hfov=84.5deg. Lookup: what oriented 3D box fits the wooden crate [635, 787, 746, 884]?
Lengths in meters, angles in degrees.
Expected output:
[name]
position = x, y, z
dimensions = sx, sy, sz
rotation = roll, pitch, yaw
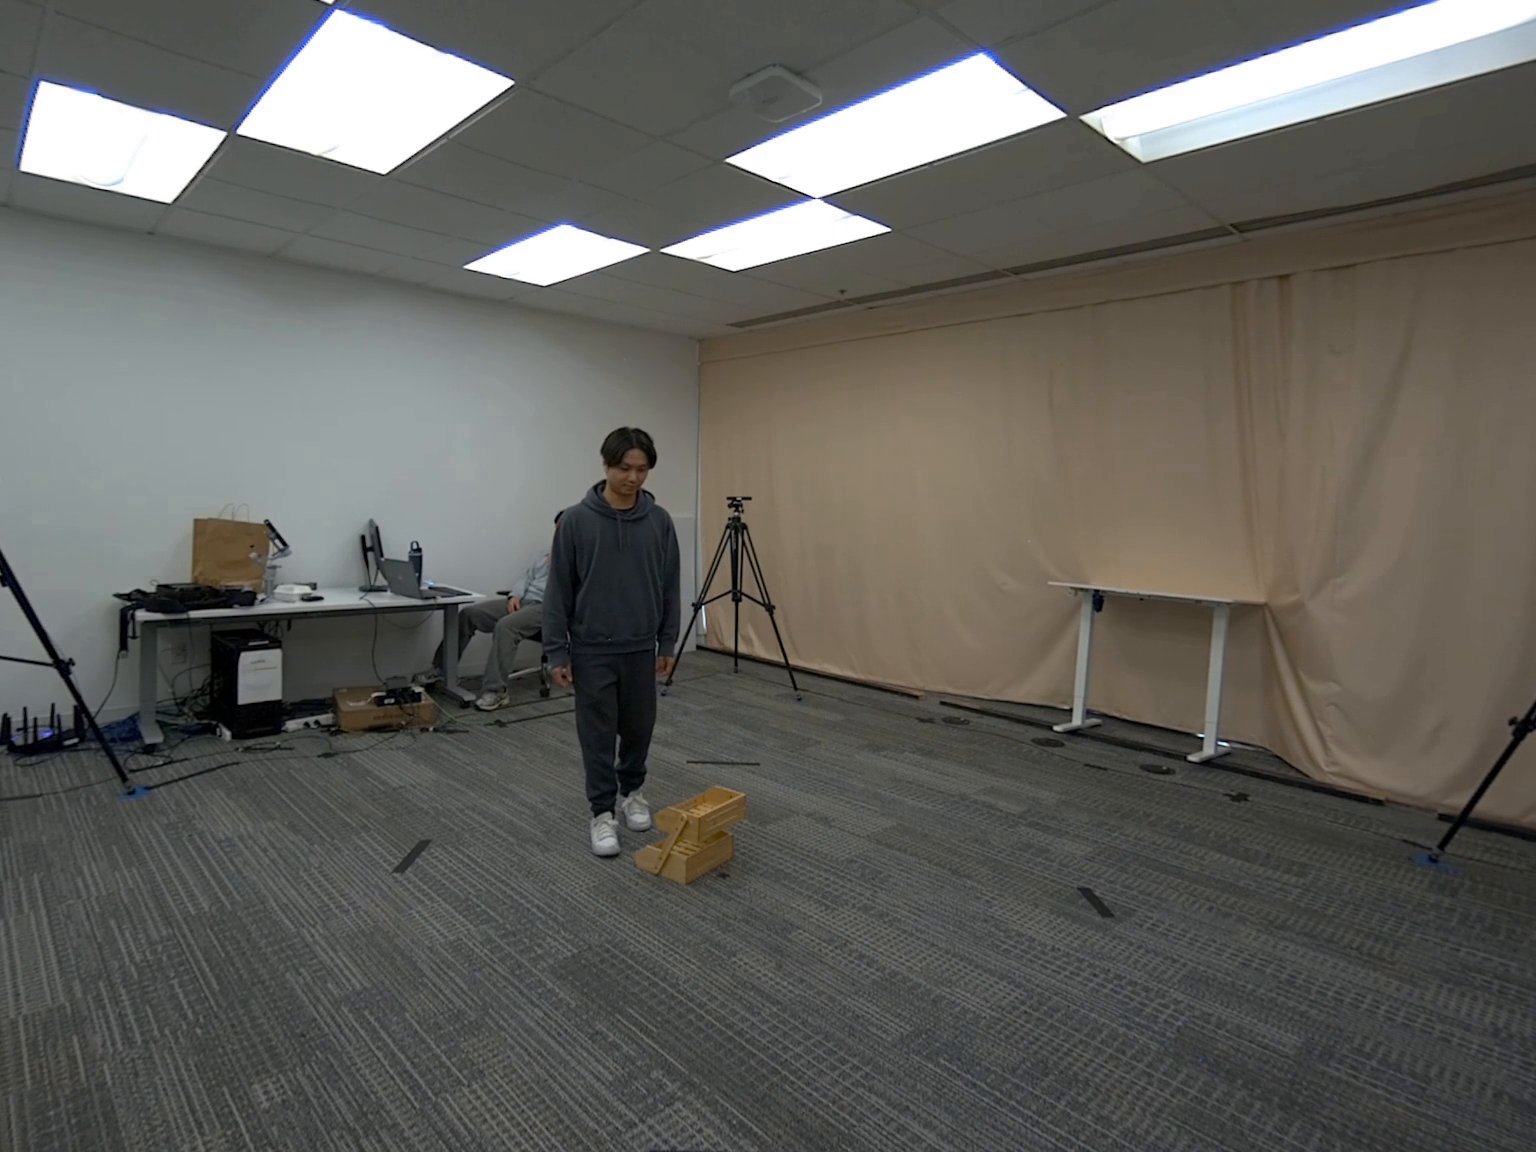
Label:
[wooden crate]
position = -0.302, 0.961, 3.195
dimensions = 0.309, 0.272, 0.318
rotation = 5, 5, 34
